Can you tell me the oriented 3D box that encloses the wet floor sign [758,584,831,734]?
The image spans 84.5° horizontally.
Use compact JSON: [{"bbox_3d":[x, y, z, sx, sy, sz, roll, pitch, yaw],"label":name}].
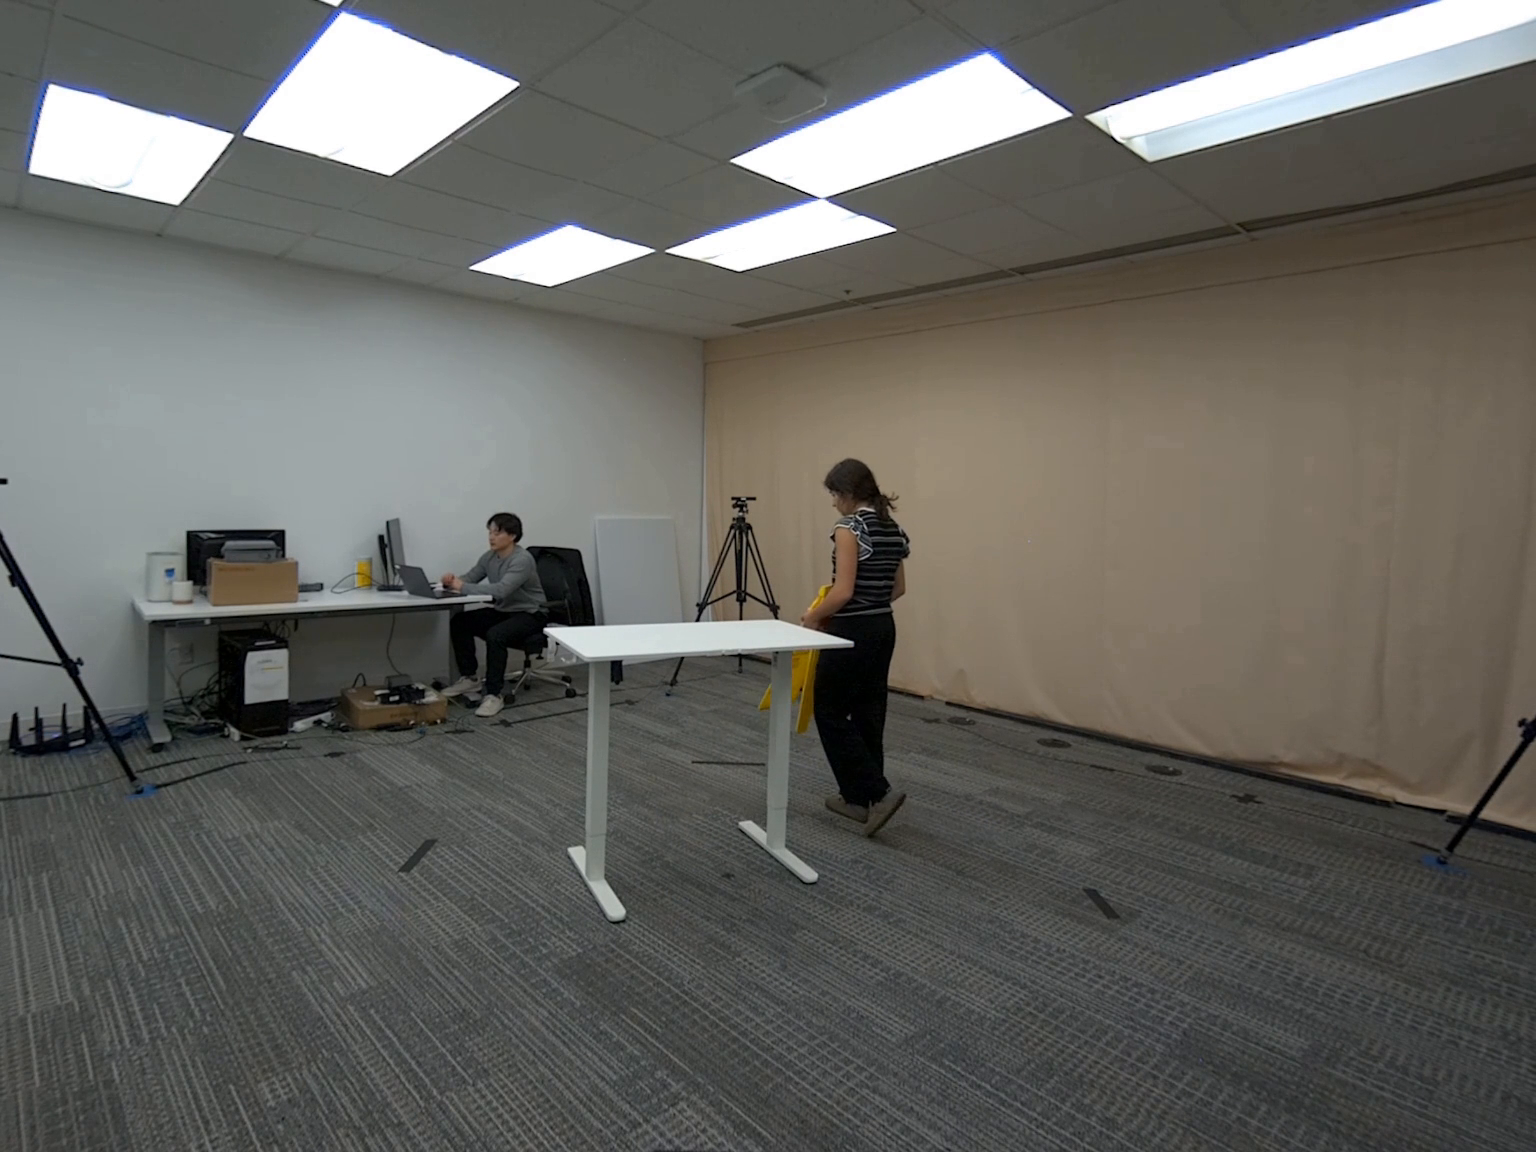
[{"bbox_3d":[0.210,0.348,3.803,0.298,0.642,0.275,23,13,36],"label":"wet floor sign"}]
